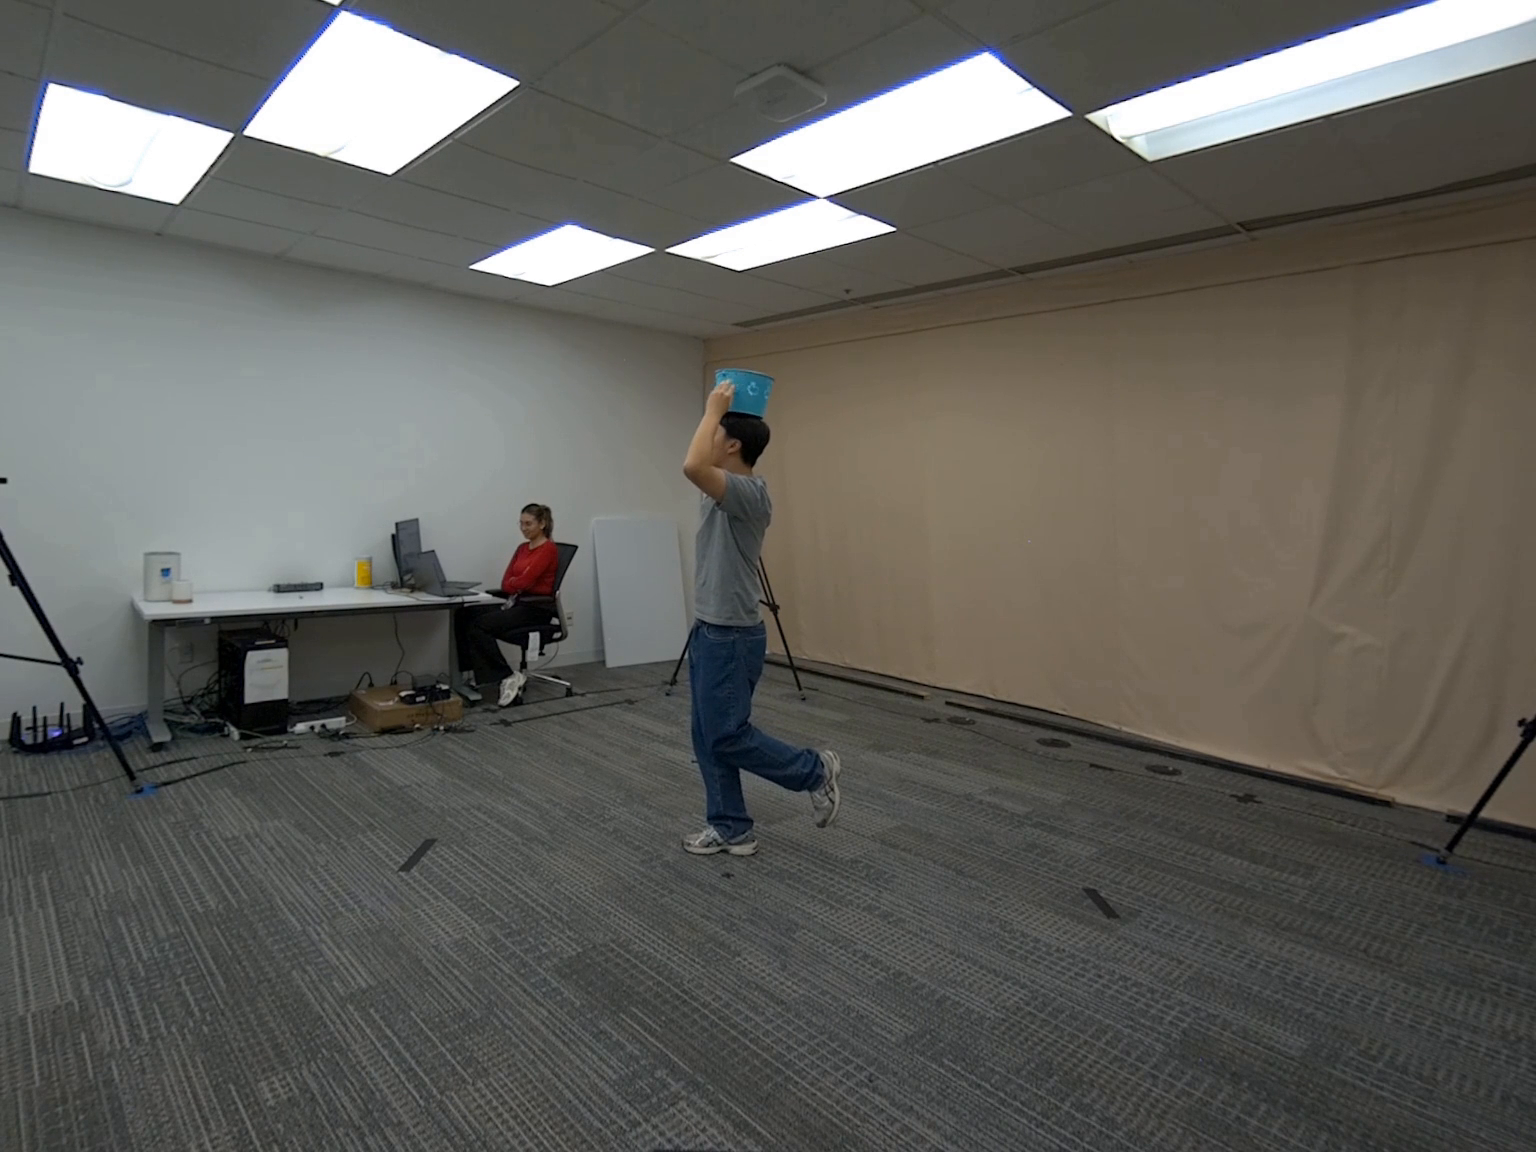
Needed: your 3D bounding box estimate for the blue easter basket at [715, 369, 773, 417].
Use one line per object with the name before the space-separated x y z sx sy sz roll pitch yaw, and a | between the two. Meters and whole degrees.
blue easter basket | -0.107 -0.687 3.227 0.243 0.156 0.244 7 2 -1
